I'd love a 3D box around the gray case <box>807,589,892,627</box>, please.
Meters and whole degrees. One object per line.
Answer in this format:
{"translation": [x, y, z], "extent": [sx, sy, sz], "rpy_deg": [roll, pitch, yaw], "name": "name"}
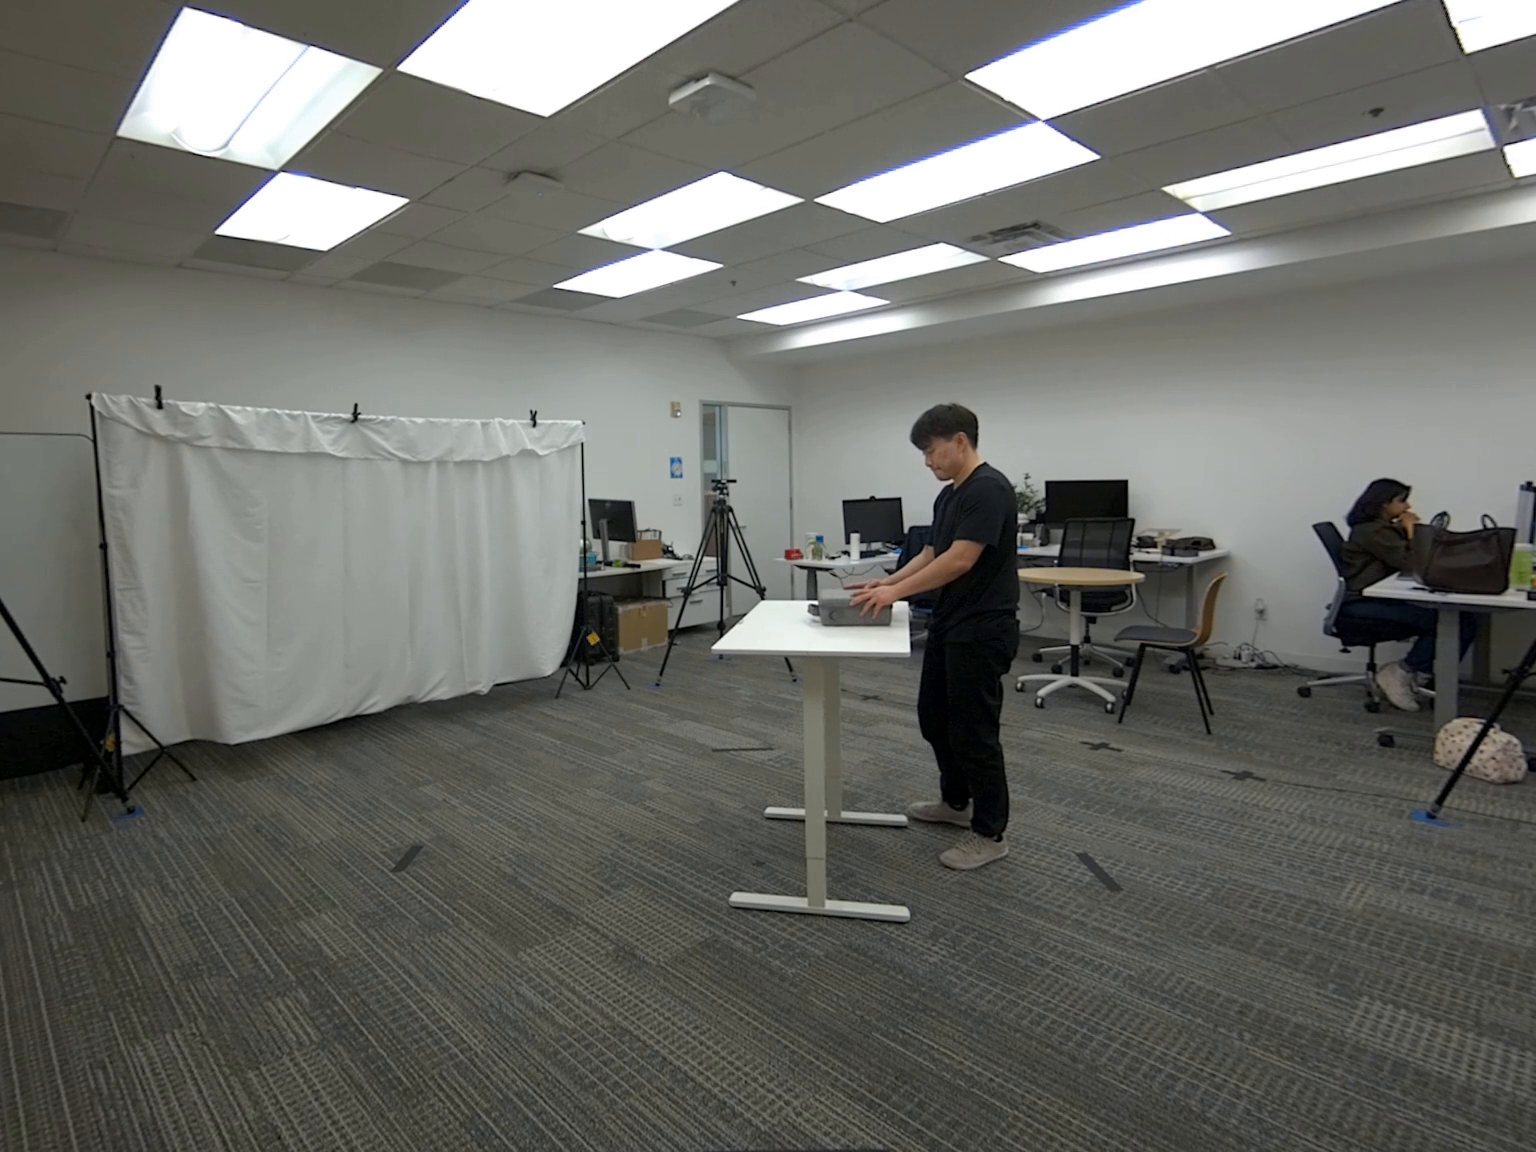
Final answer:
{"translation": [0.303, 0.111, 3.081], "extent": [0.261, 0.104, 0.257], "rpy_deg": [0, 7, 3], "name": "gray case"}
